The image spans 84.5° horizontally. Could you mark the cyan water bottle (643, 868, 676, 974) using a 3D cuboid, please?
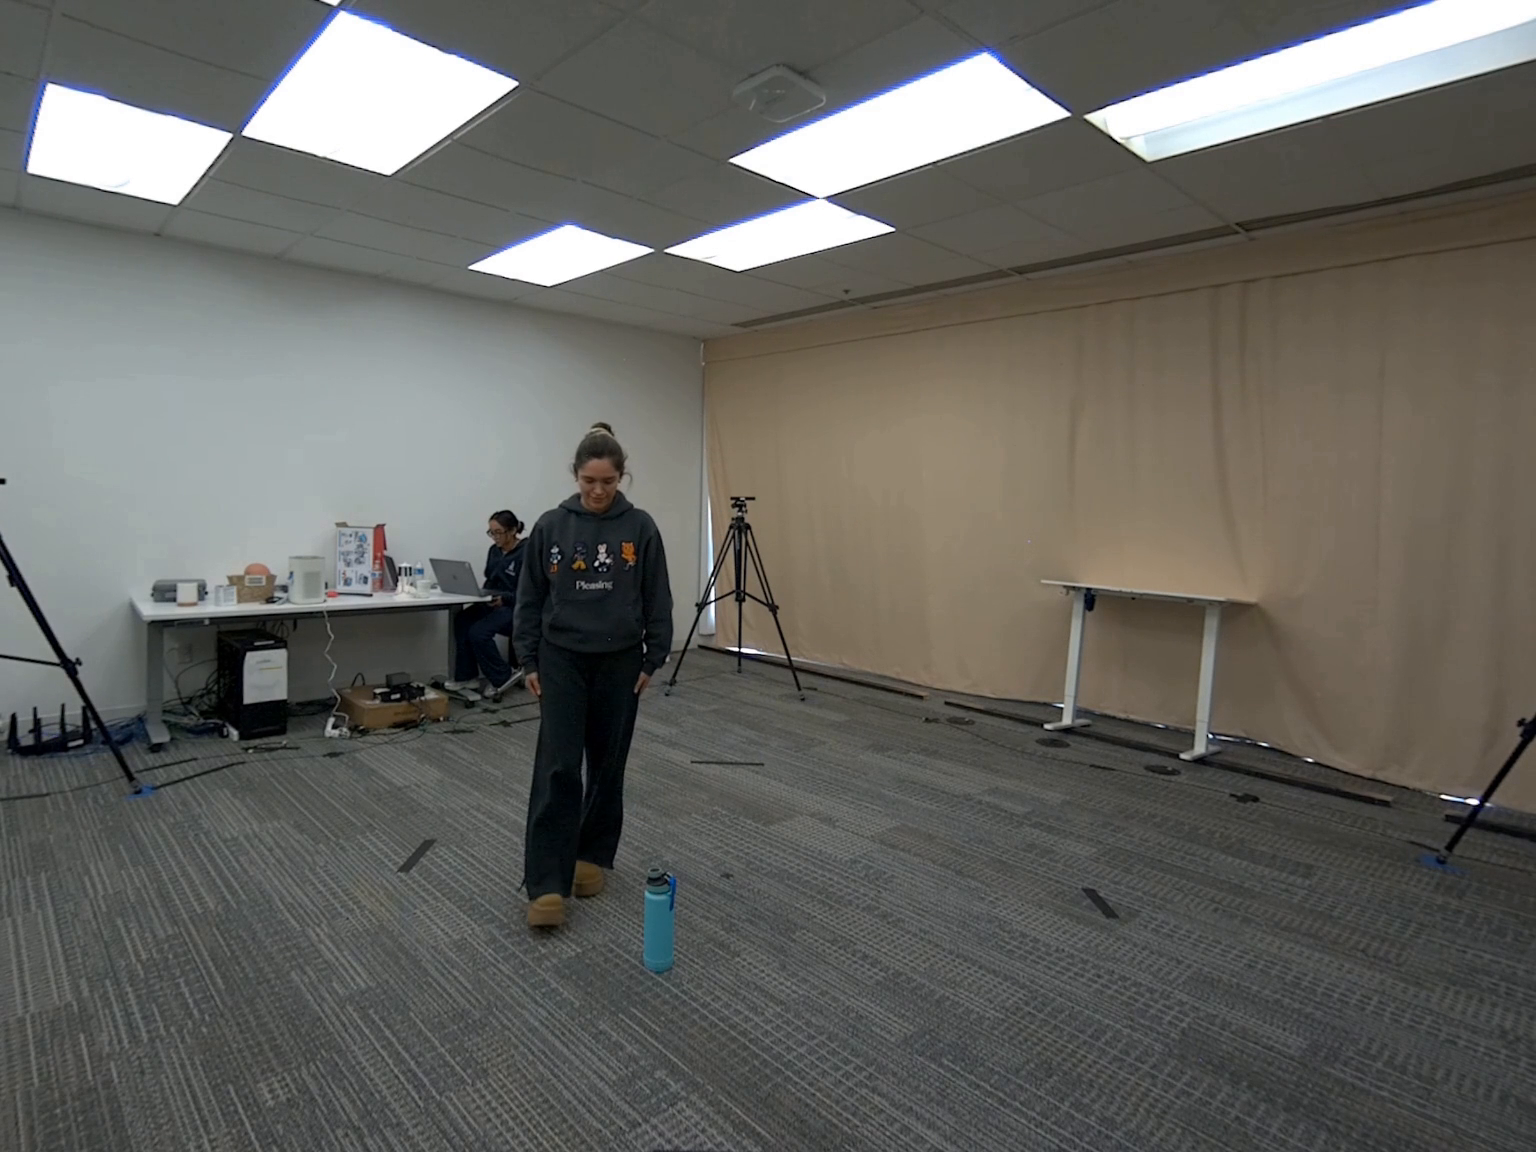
[{"bbox_3d":[-0.325,1.022,2.504,0.092,0.283,0.092,3,3,-2],"label":"cyan water bottle"}]
